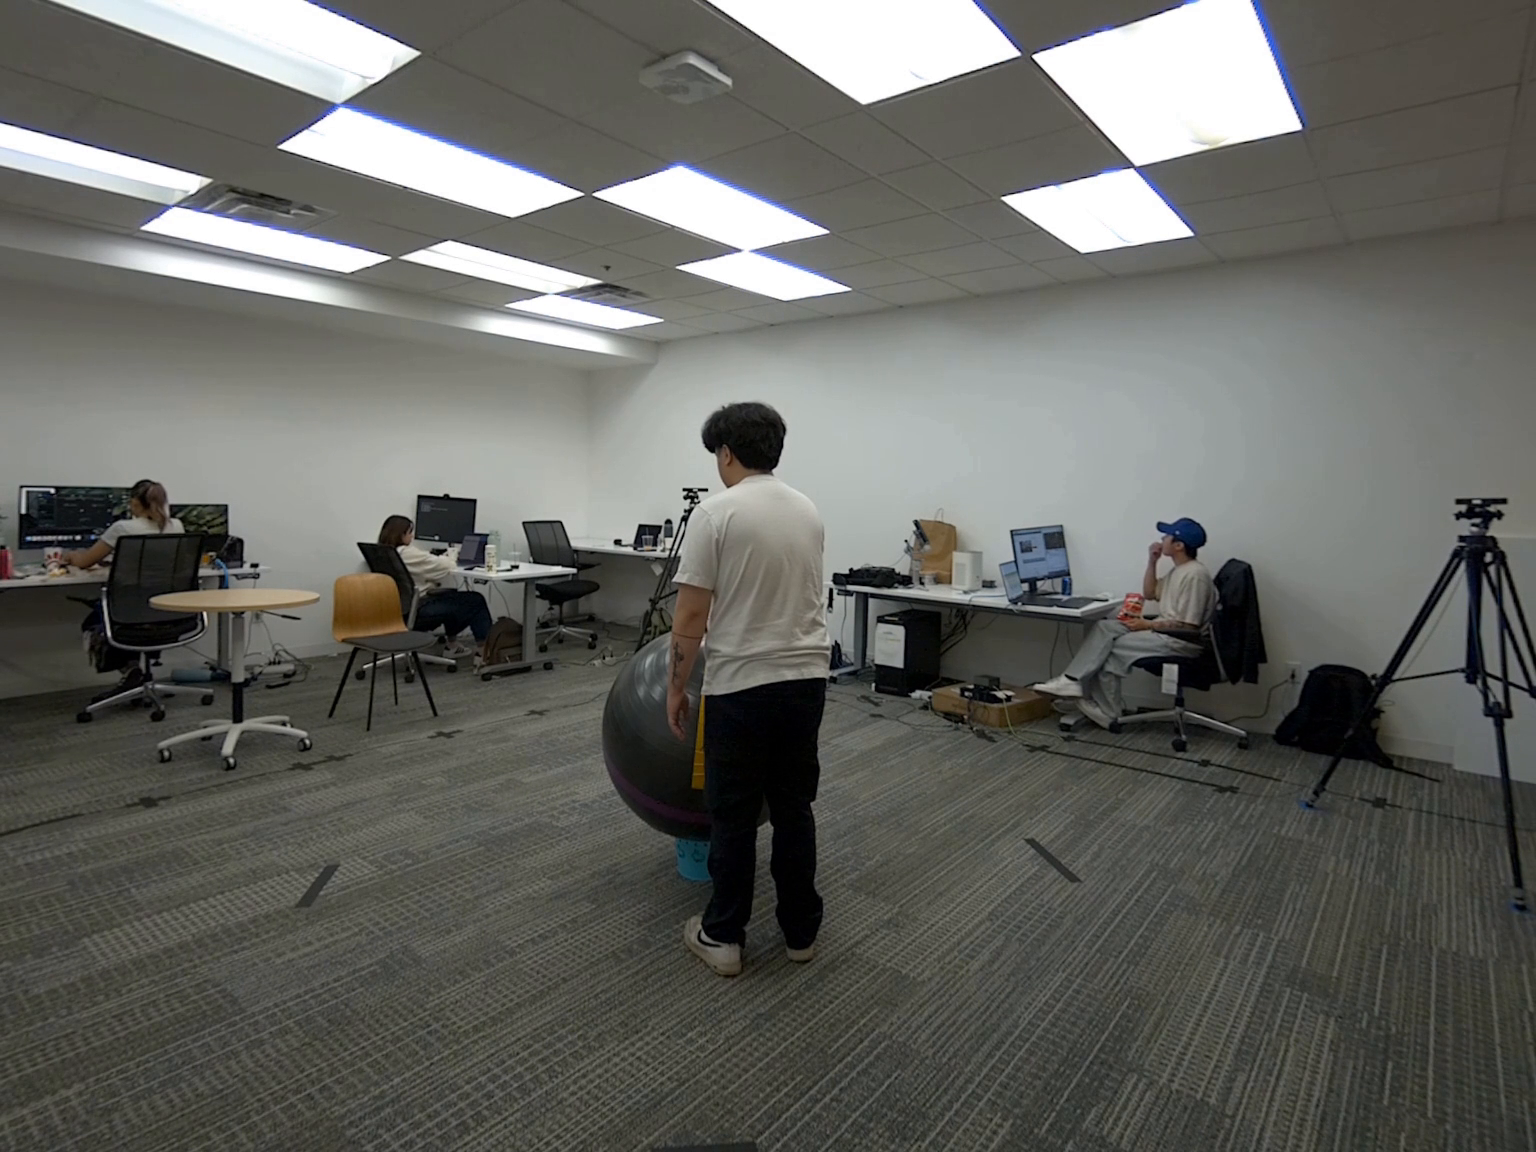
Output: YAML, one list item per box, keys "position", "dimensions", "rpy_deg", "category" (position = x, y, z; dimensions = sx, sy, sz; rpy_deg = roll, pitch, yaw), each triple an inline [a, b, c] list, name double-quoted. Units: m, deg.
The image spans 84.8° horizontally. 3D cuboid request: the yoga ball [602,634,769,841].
- position: [-0.228, 0.563, 3.090]
  dimensions: [0.757, 0.756, 0.761]
  rpy_deg: [1, 4, -2]
  category: "yoga ball"
